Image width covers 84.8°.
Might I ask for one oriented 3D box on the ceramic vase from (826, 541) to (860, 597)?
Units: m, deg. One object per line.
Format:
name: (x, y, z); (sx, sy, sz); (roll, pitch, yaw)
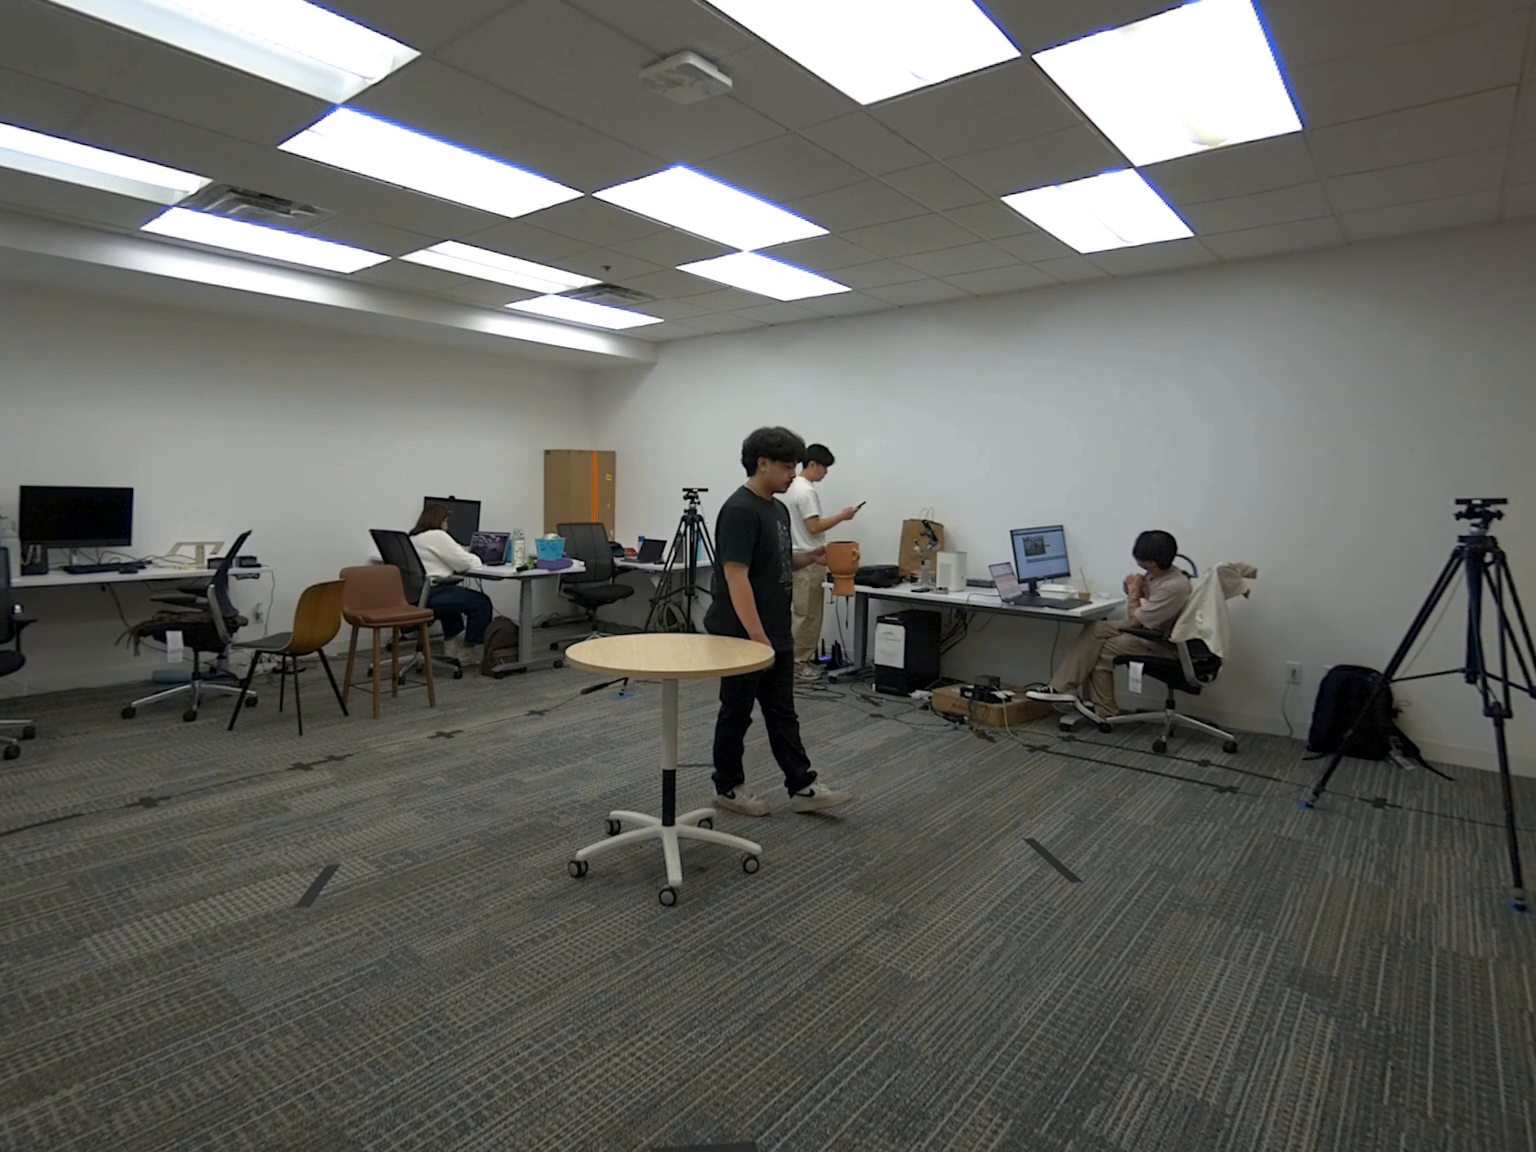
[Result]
ceramic vase: (0.307, -0.034, 3.575); (0.135, 0.219, 0.159); (-2, 3, 1)
